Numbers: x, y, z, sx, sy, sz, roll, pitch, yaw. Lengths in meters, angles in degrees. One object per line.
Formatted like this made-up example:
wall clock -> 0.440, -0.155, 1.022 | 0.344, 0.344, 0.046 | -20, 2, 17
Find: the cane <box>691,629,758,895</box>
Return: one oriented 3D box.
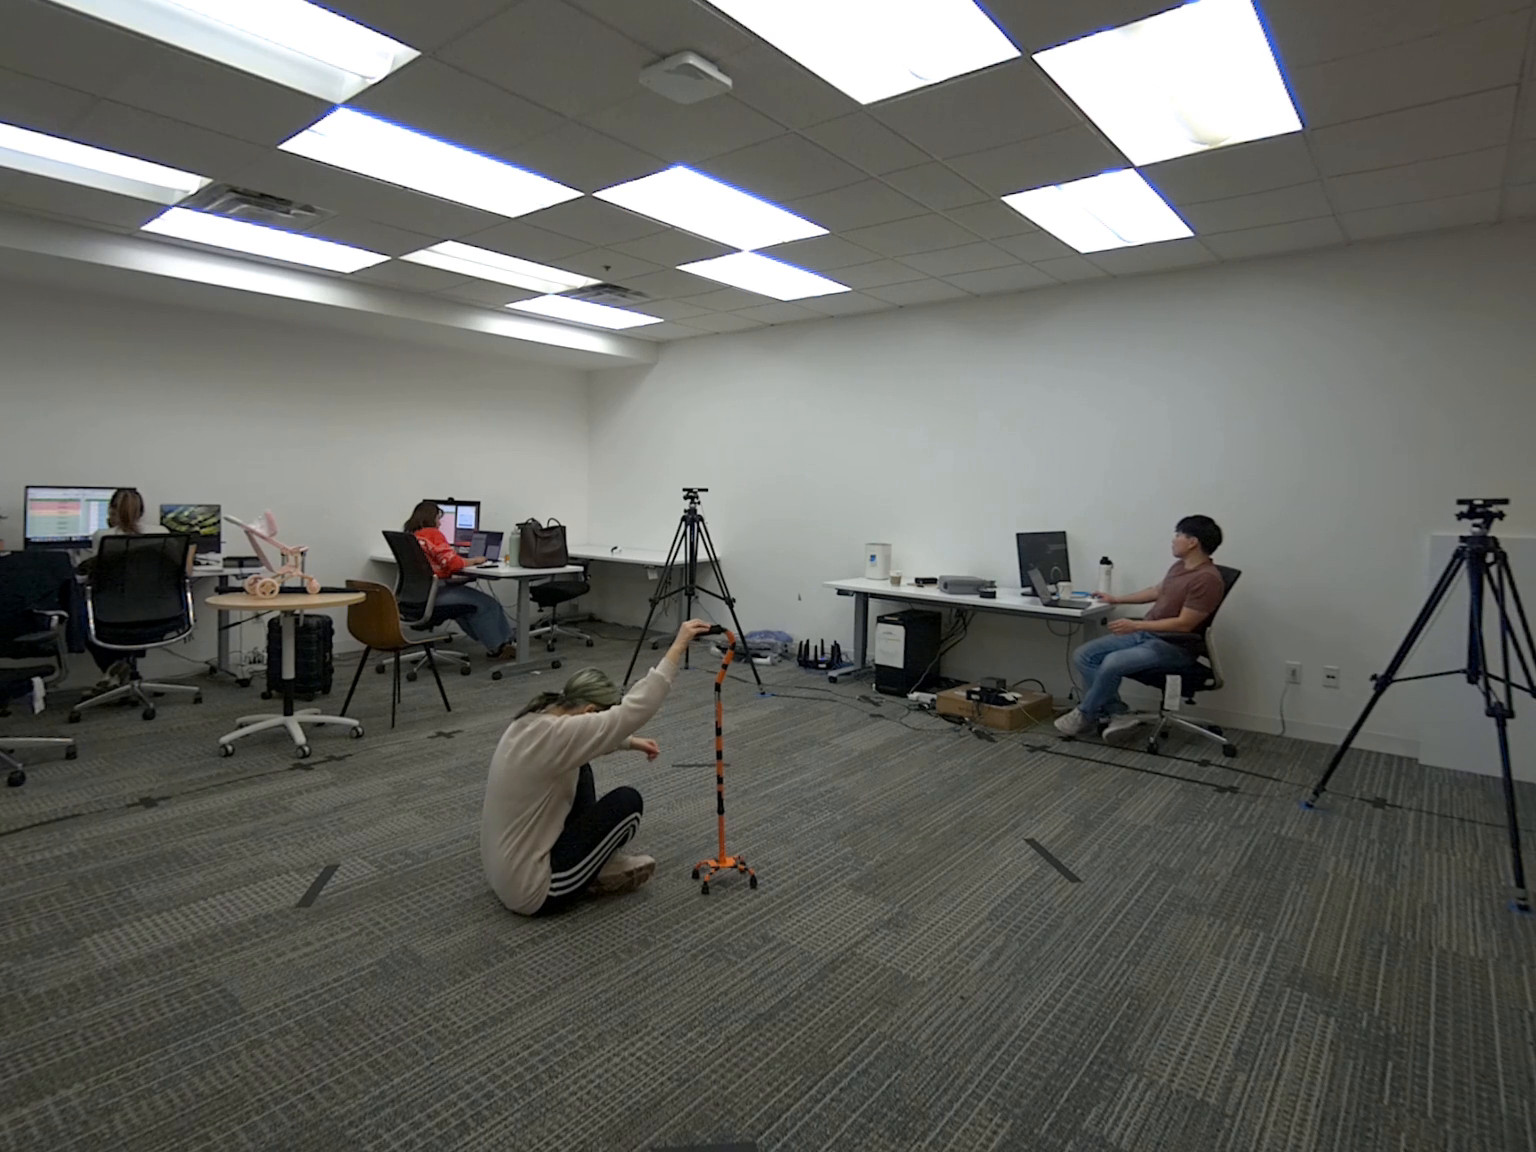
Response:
cane -> -0.170, 0.629, 2.975 | 0.203, 0.904, 0.155 | -2, 5, -18
